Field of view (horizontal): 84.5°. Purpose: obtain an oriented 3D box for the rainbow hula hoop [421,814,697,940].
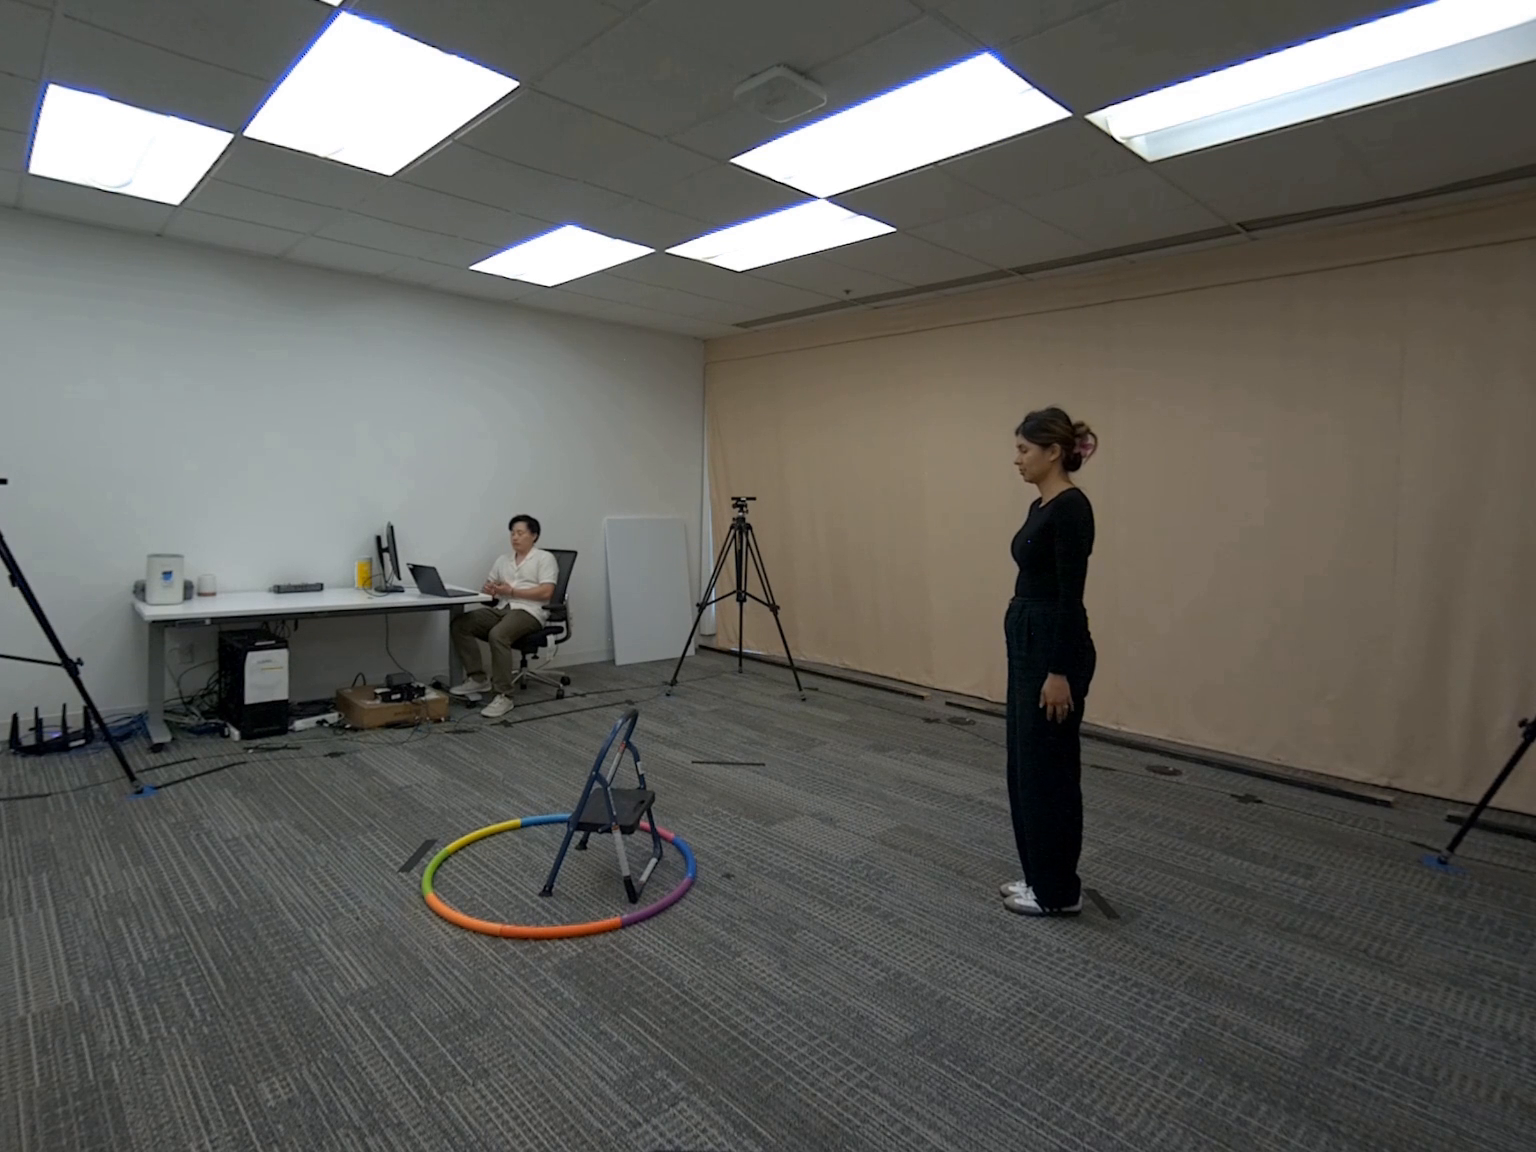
[{"bbox_3d":[-0.755,1.060,3.108,0.978,0.035,0.982,2,5,-1],"label":"rainbow hula hoop"}]
